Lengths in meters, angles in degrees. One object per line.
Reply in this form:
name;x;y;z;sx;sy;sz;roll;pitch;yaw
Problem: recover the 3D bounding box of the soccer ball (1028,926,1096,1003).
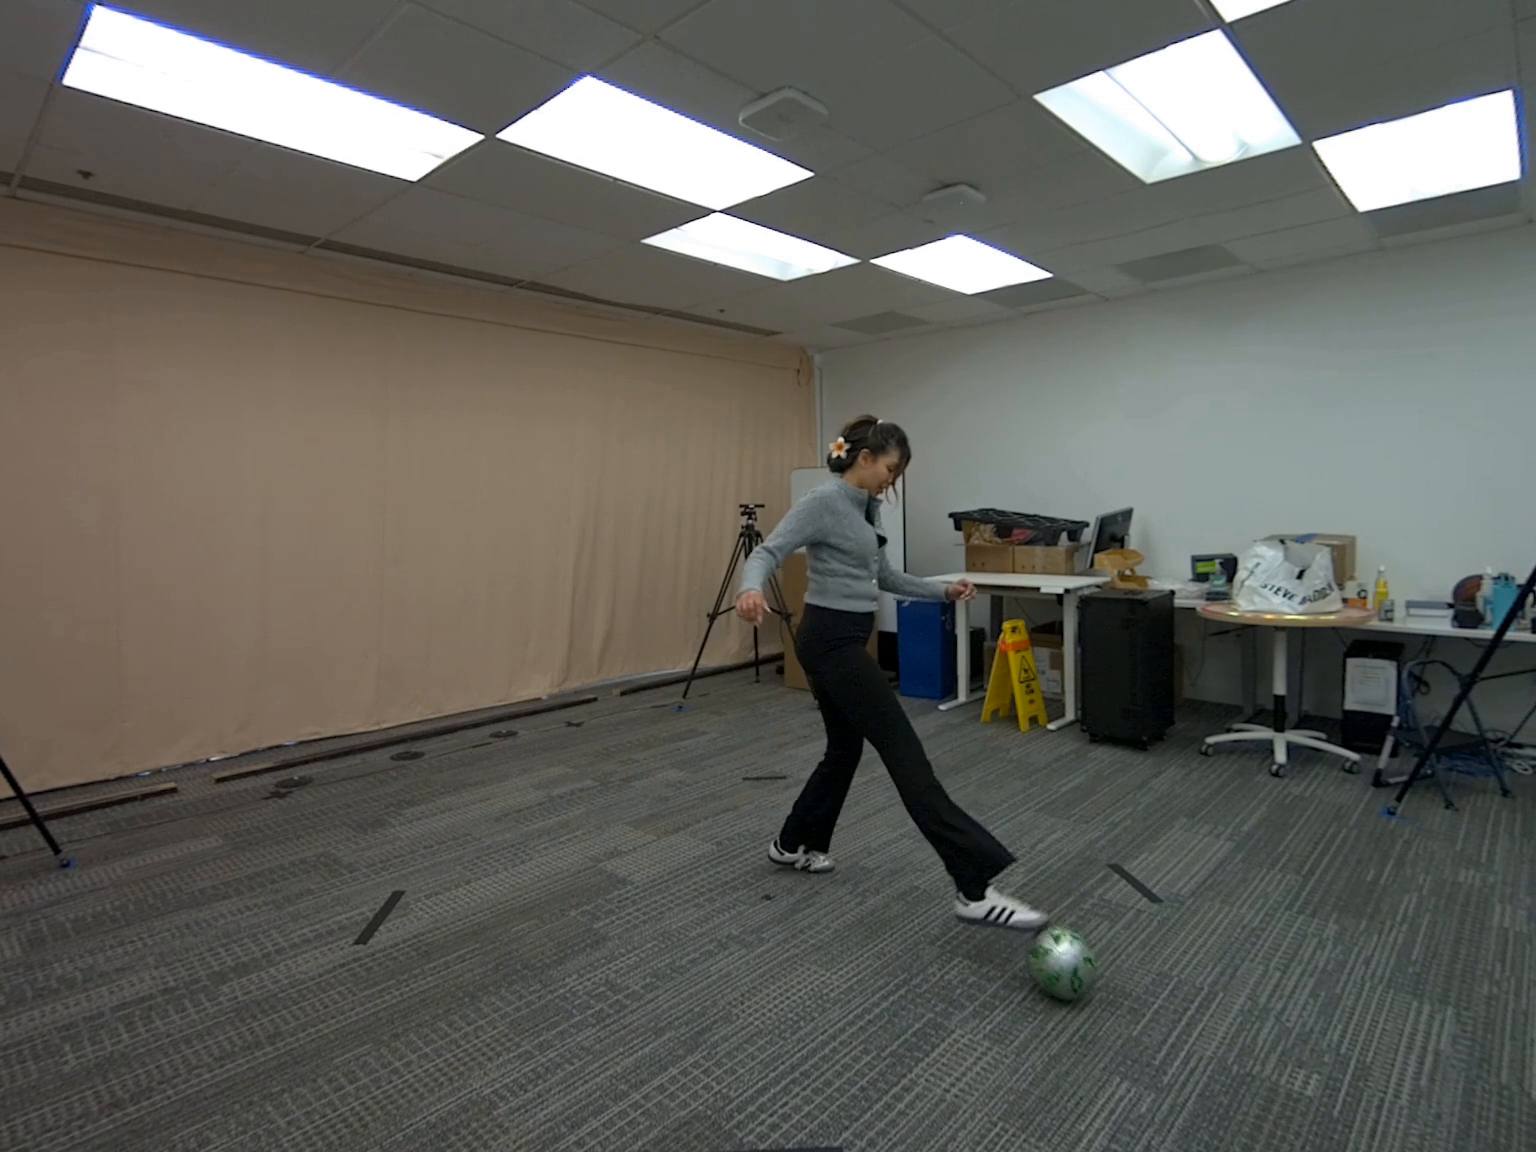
soccer ball;0.803;1.082;2.396;0.187;0.187;0.188;-1;4;-2
